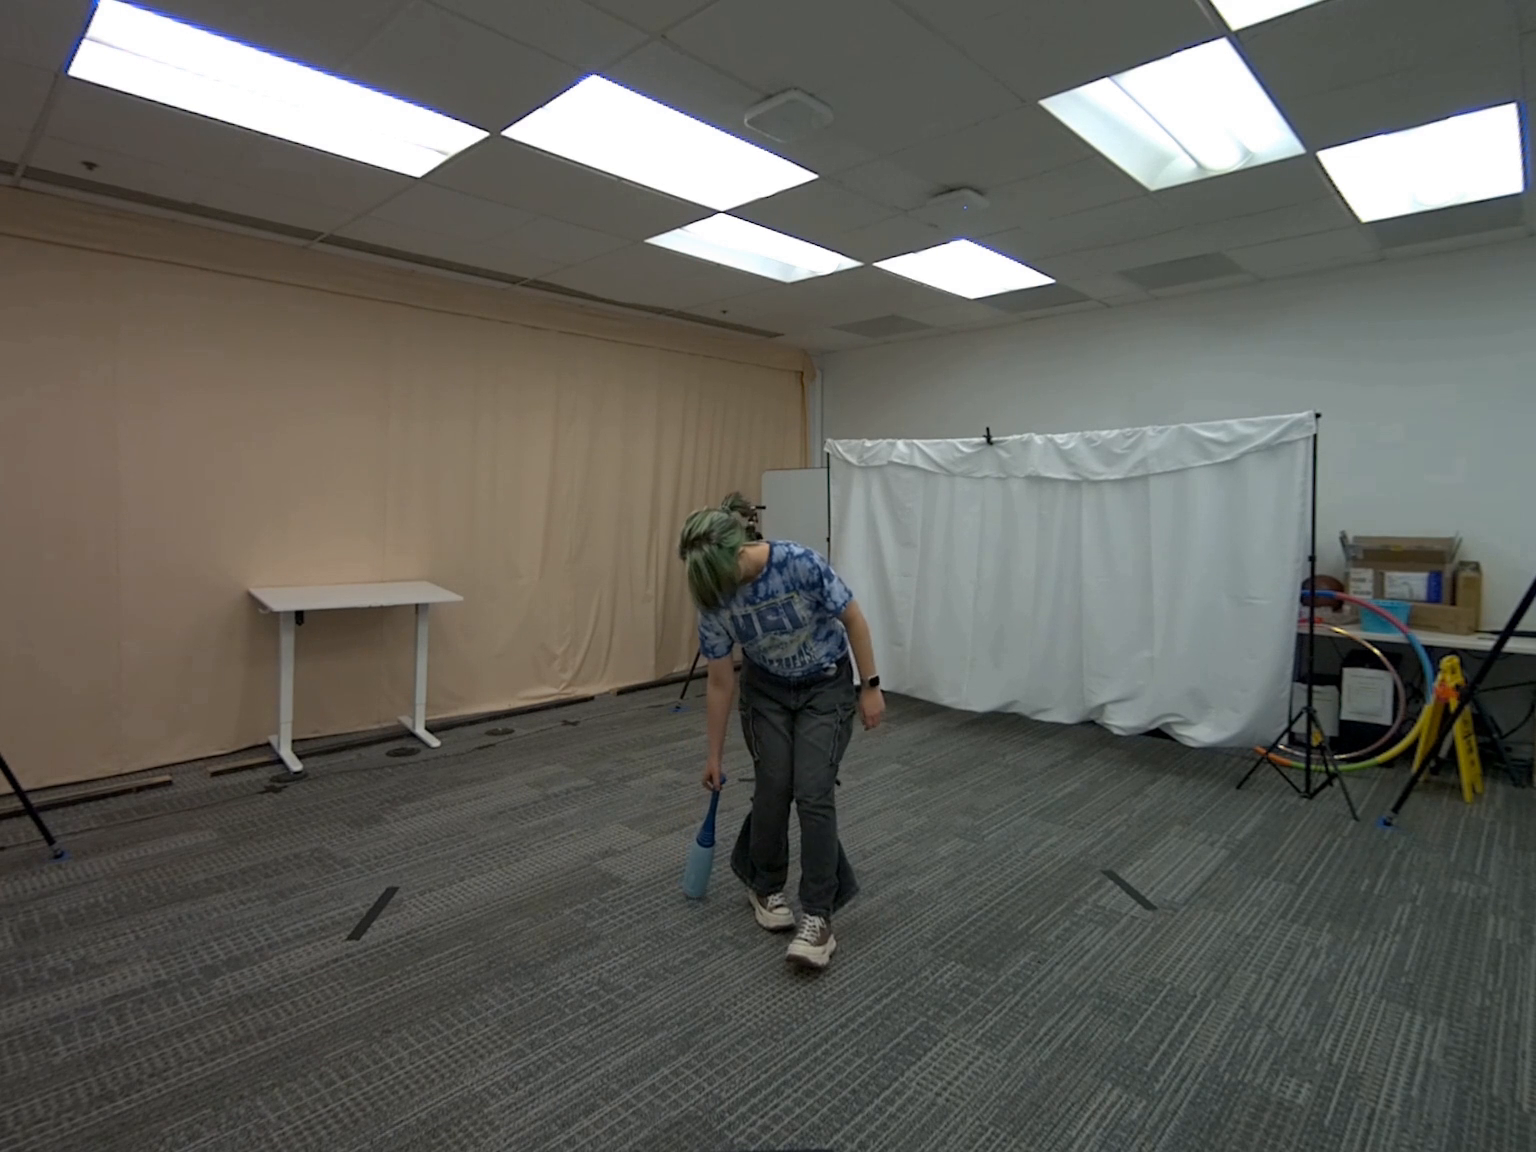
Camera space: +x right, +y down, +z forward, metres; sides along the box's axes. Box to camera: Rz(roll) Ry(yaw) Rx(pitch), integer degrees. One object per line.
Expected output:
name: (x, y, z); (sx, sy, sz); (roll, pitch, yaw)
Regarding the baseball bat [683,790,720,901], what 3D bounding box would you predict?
baseball bat: (-0.211, 0.903, 2.899); (0.088, 0.538, 0.090); (9, 26, -7)
